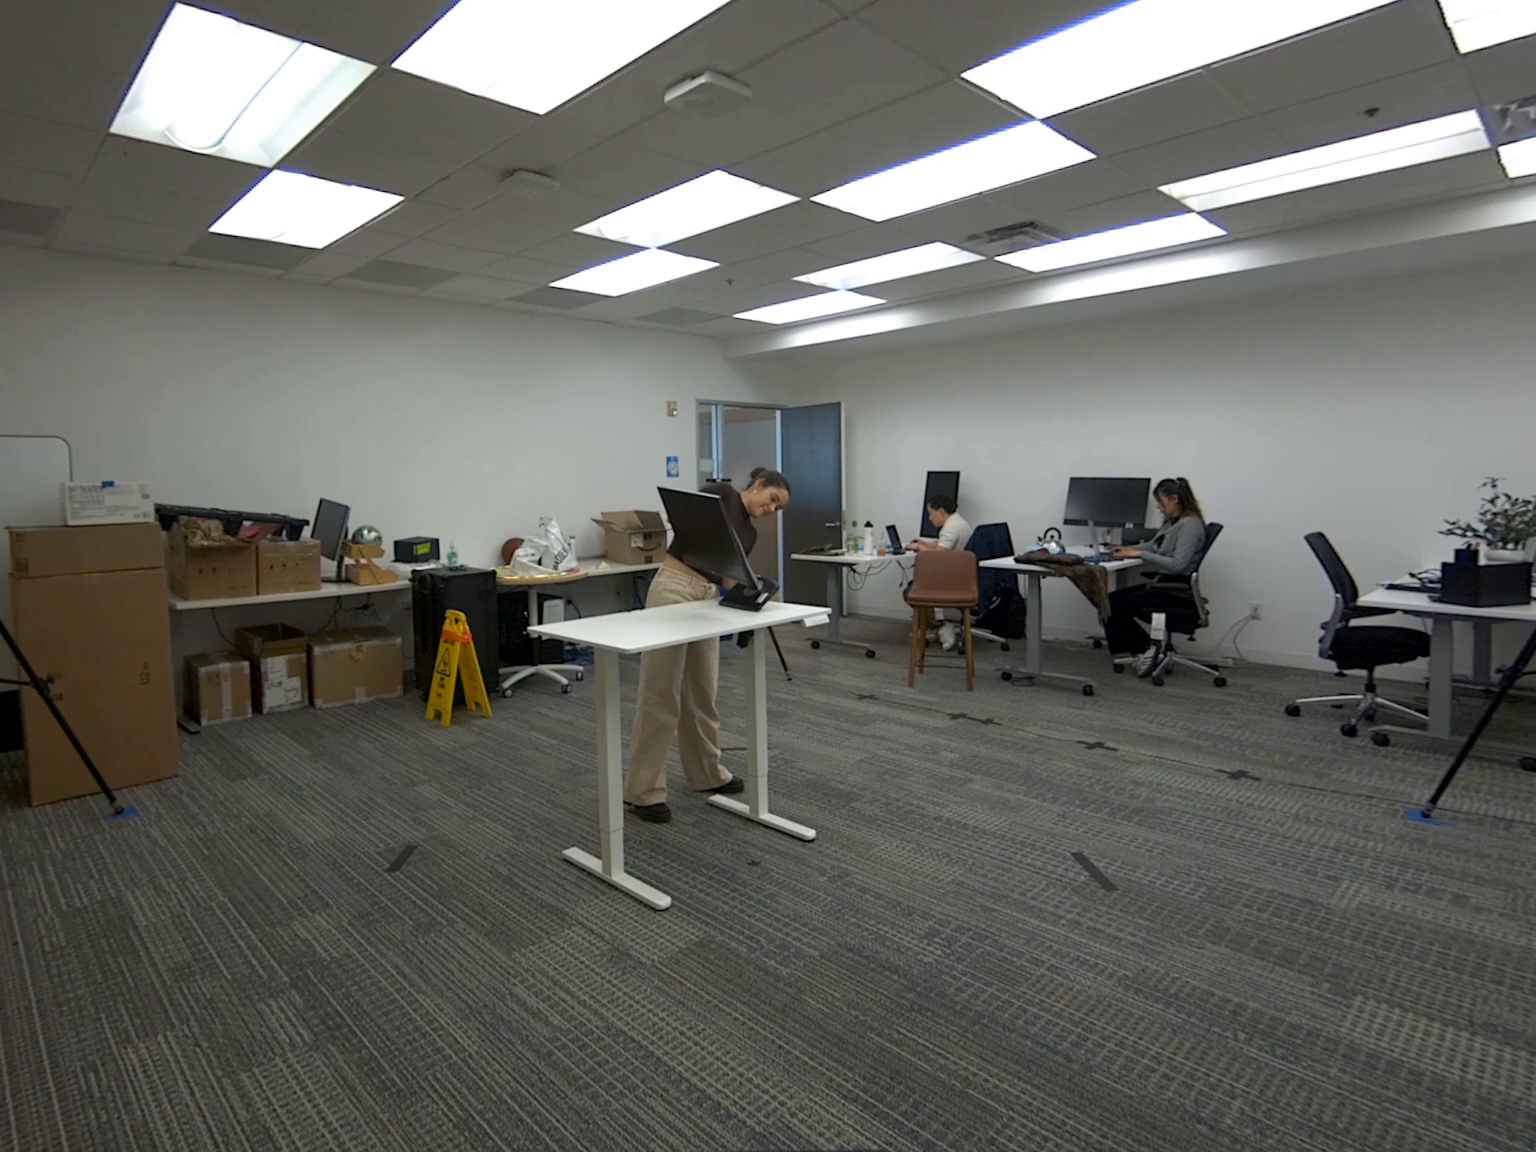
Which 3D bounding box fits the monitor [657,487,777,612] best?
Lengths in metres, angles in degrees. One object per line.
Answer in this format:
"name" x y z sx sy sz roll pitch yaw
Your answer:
"monitor" -0.185 -0.114 3.342 0.186 0.508 0.556 -40 26 -22
